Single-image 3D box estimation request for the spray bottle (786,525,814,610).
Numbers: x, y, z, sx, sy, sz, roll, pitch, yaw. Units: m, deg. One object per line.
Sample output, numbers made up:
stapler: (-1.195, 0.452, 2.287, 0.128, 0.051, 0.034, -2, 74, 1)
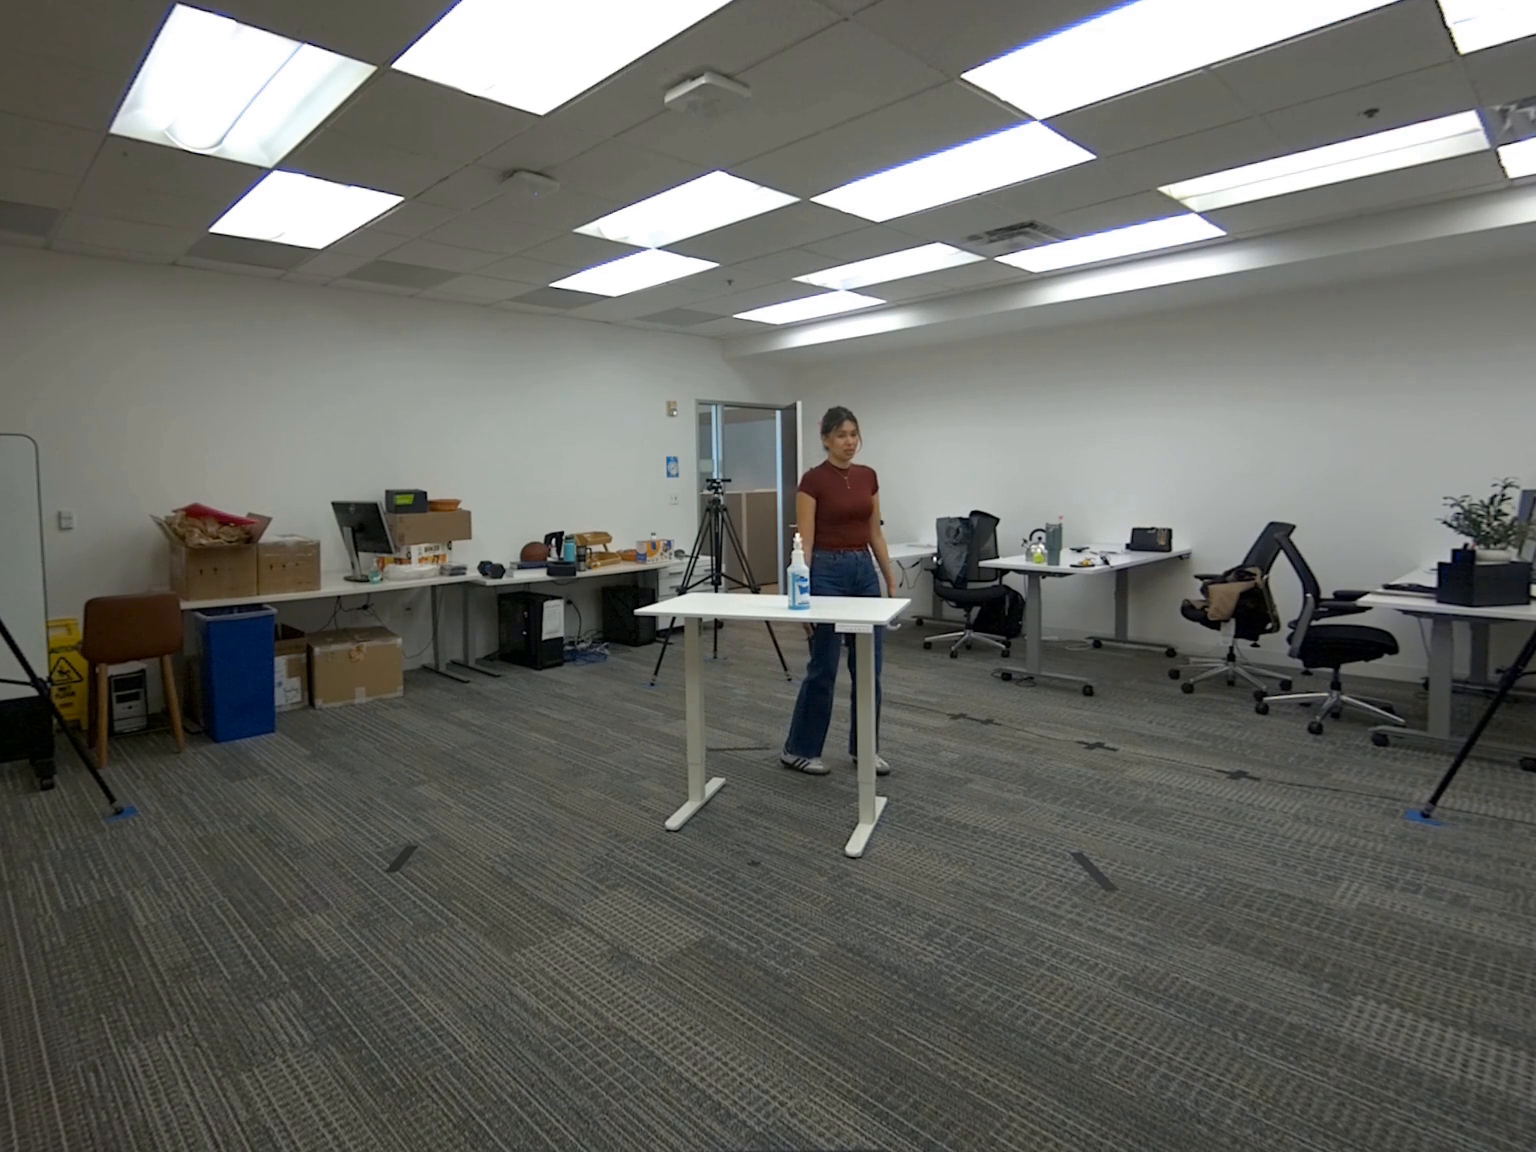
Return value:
spray bottle: (0.124, -0.016, 3.374, 0.089, 0.297, 0.088, 1, 1, 28)
